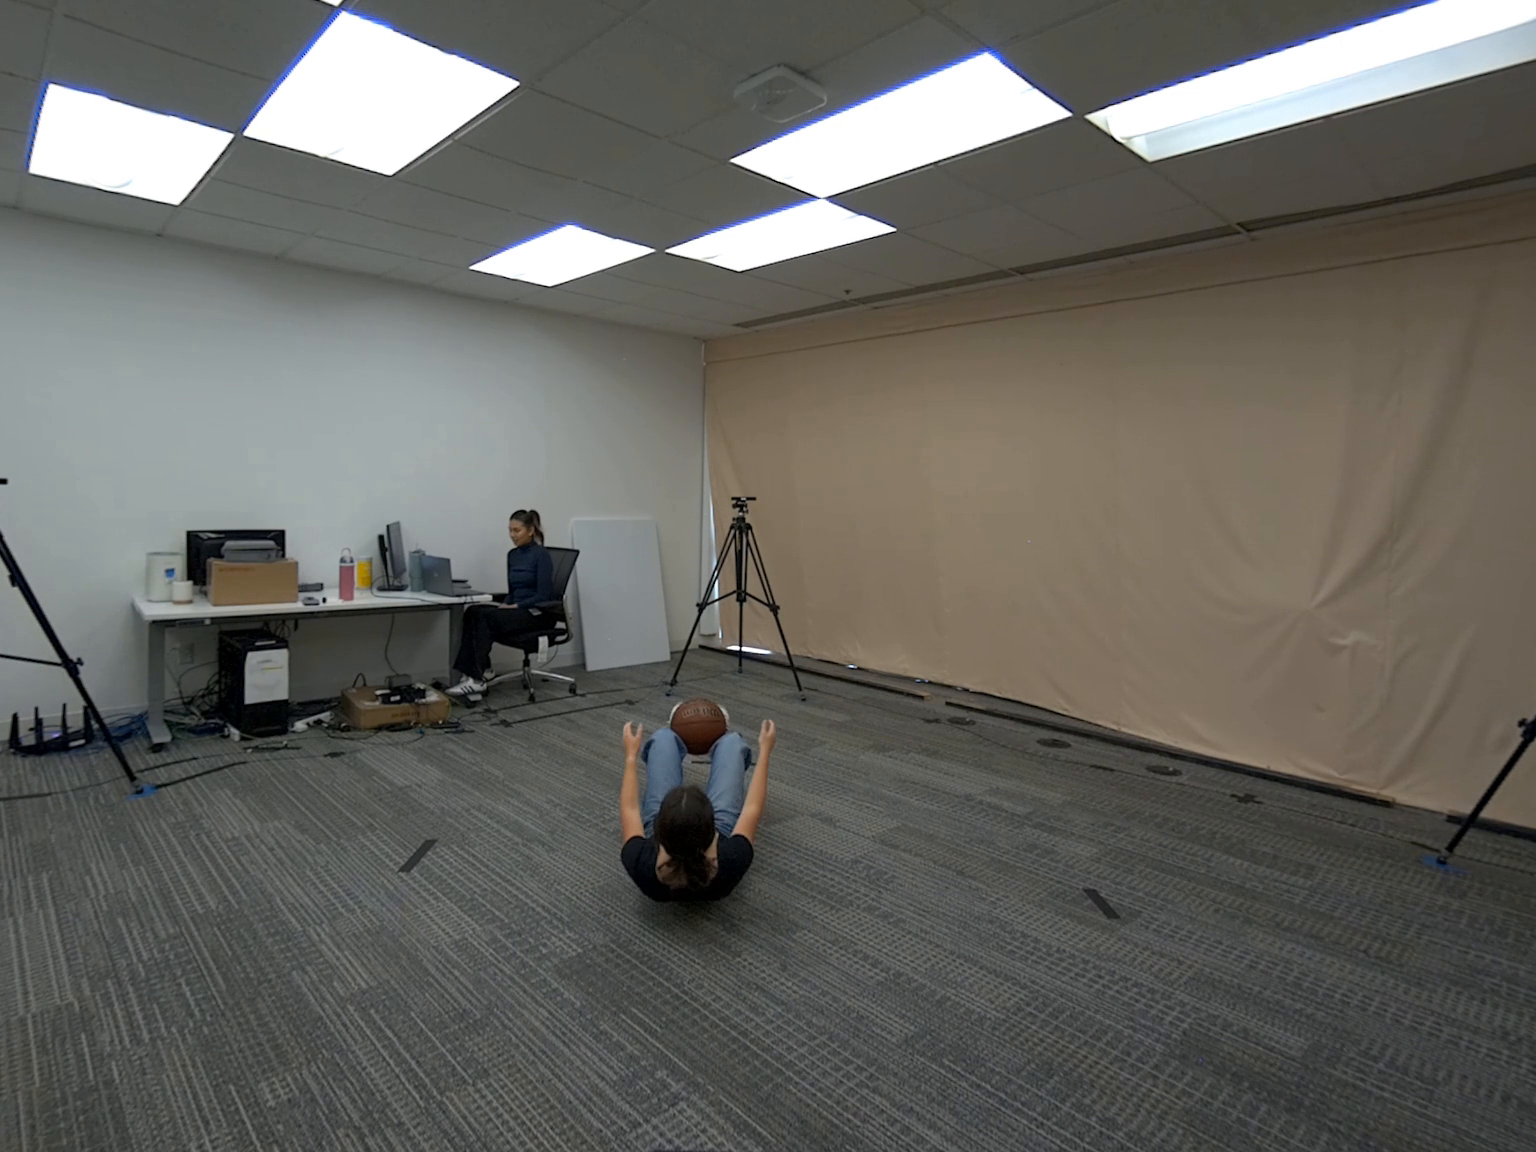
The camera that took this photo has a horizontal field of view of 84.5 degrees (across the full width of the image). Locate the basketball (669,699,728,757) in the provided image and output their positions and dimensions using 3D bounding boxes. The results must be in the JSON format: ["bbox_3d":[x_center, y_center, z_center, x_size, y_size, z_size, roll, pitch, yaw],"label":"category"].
[{"bbox_3d":[-0.303,0.636,3.572,0.236,0.235,0.237,1,4,-1],"label":"basketball"}]
